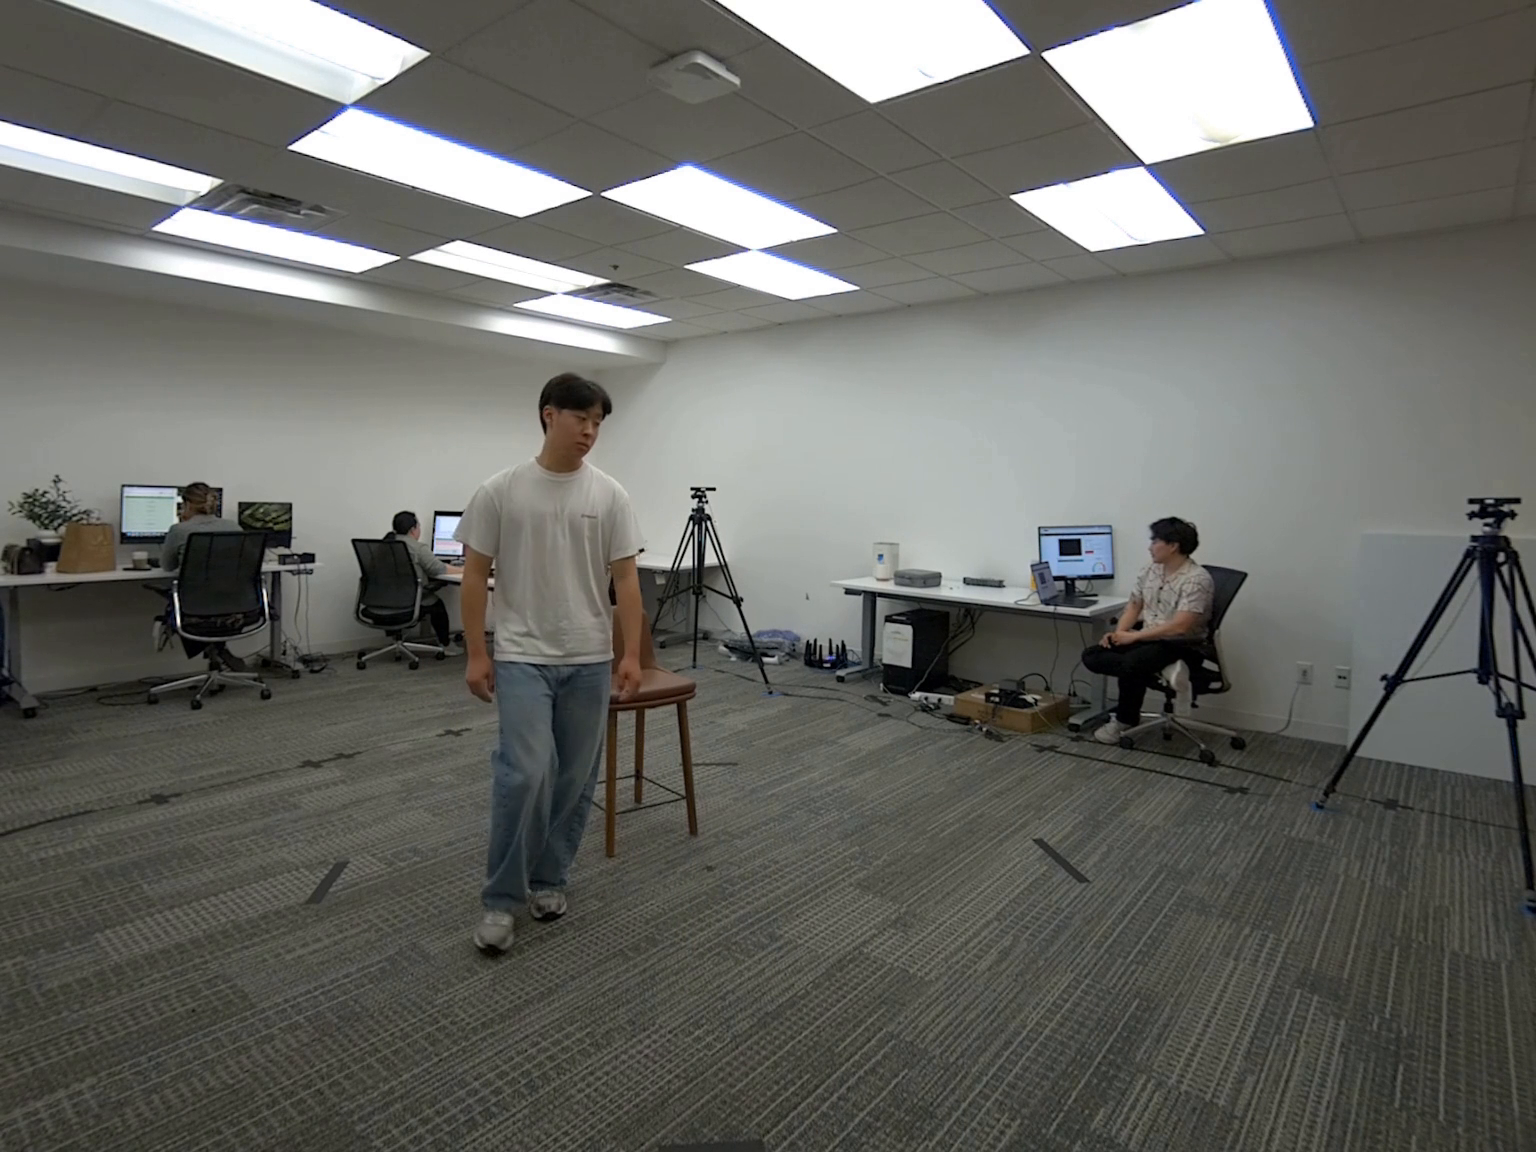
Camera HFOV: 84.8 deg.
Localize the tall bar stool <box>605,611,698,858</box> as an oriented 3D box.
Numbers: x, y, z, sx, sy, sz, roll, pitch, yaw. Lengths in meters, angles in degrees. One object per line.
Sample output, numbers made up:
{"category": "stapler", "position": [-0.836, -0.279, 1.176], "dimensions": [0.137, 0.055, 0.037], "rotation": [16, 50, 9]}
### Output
{"category": "tall bar stool", "position": [-0.585, 0.590, 3.468], "dimensions": [0.443, 0.889, 0.482], "rotation": [-1, 1, -37]}
